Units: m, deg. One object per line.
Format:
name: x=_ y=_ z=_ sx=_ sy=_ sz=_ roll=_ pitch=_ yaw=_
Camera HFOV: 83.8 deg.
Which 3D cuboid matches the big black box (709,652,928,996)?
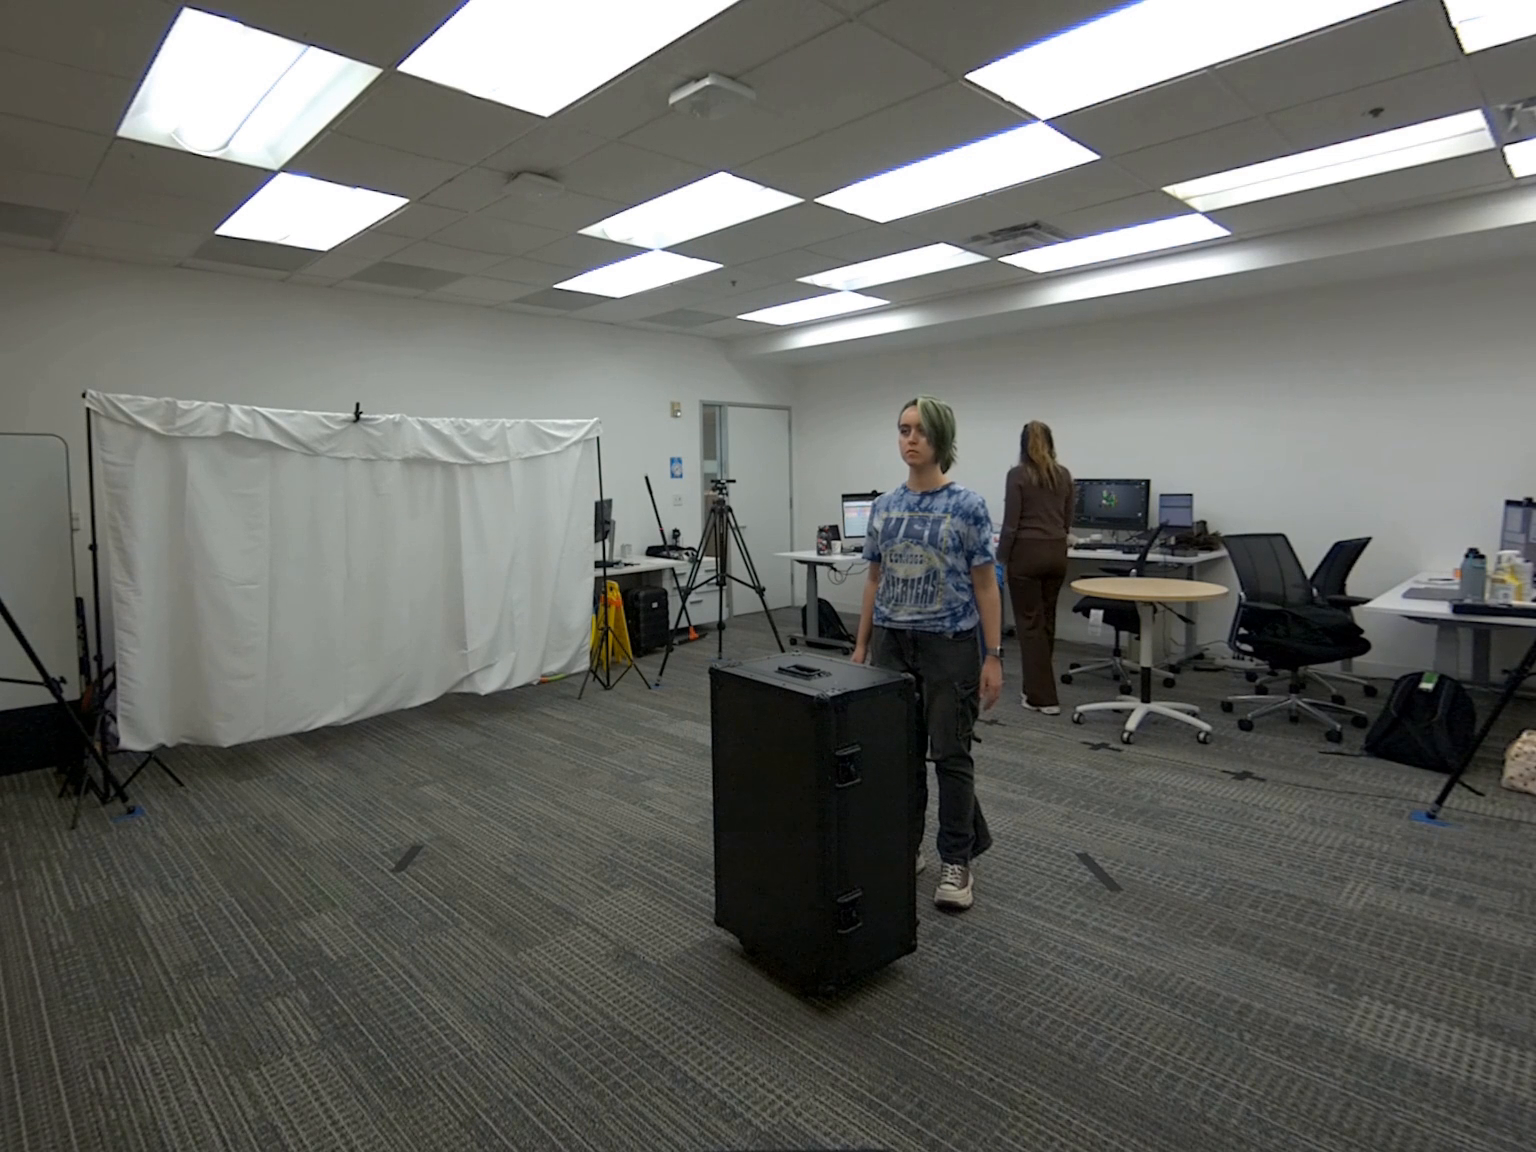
big black box: x=0.133 y=0.691 z=2.463 sx=0.386 sy=0.858 sz=0.537 roll=-3 pitch=5 yaw=-38
